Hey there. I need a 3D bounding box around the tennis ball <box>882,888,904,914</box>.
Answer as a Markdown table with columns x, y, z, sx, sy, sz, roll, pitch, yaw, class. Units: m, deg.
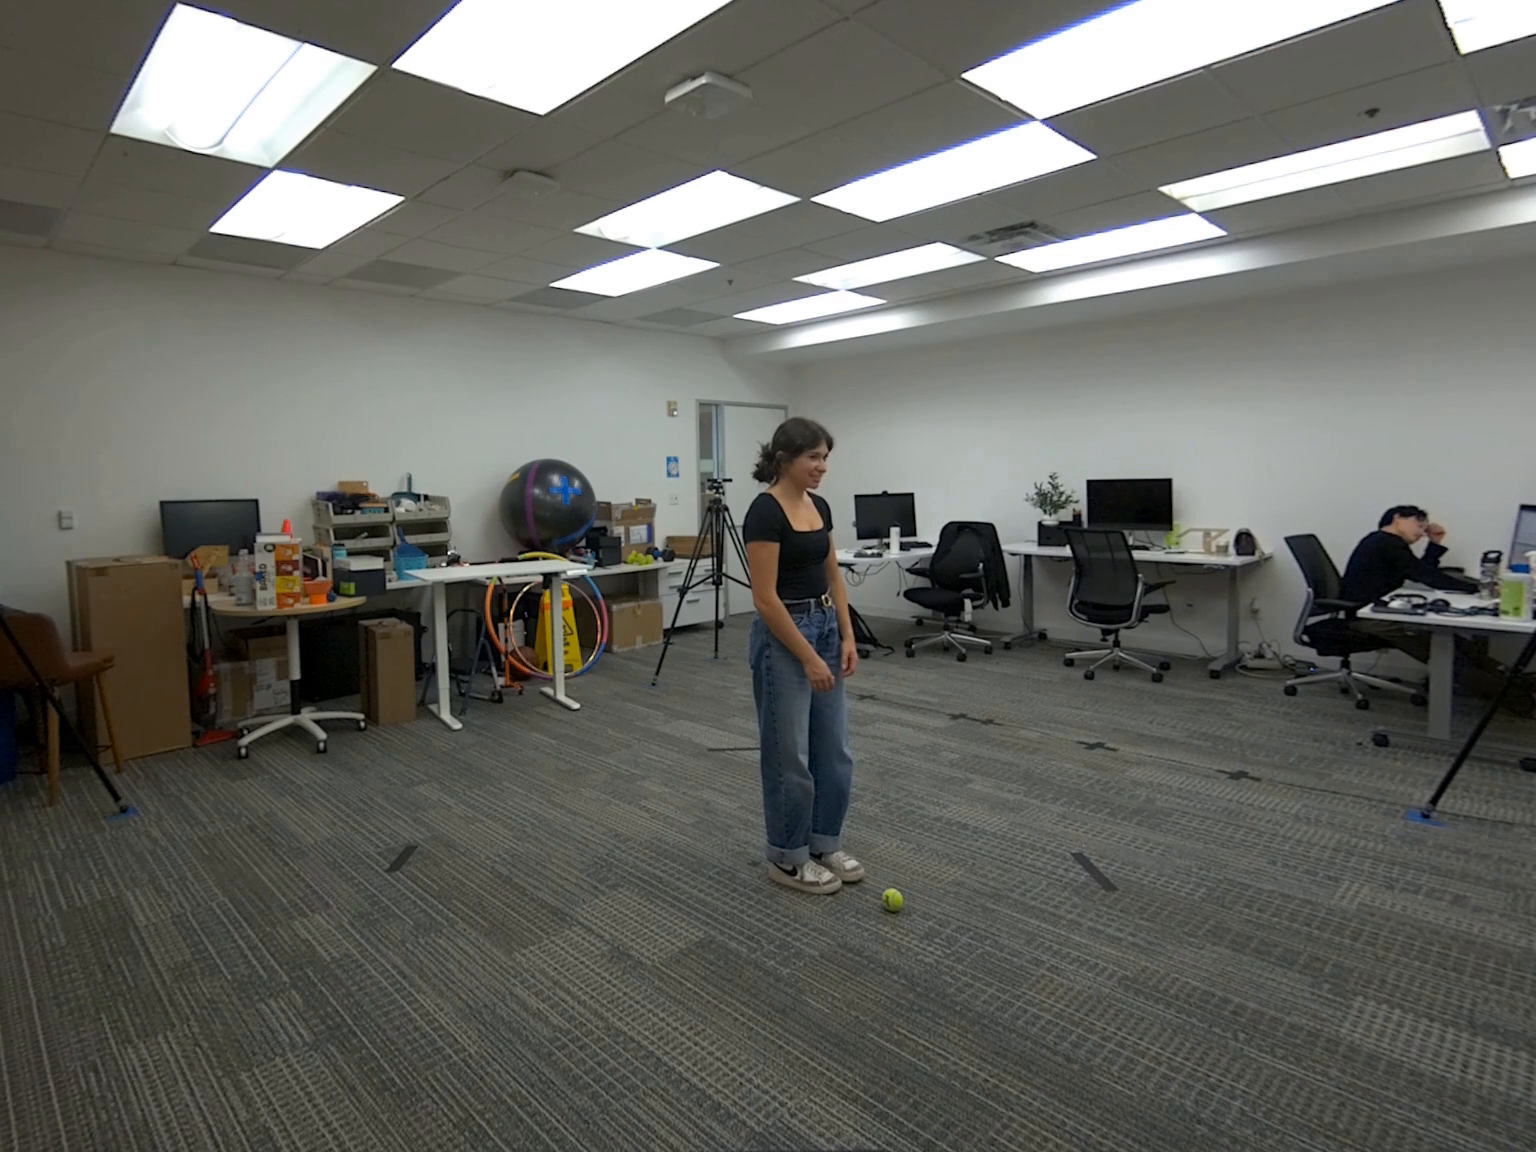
| x | y | z | sx | sy | sz | roll | pitch | yaw | class |
| --- | --- | --- | --- | --- | --- | --- | --- | --- | --- |
| 0.414 | 1.033 | 2.749 | 0.066 | 0.066 | 0.067 | -1 | 5 | -2 | tennis ball |
